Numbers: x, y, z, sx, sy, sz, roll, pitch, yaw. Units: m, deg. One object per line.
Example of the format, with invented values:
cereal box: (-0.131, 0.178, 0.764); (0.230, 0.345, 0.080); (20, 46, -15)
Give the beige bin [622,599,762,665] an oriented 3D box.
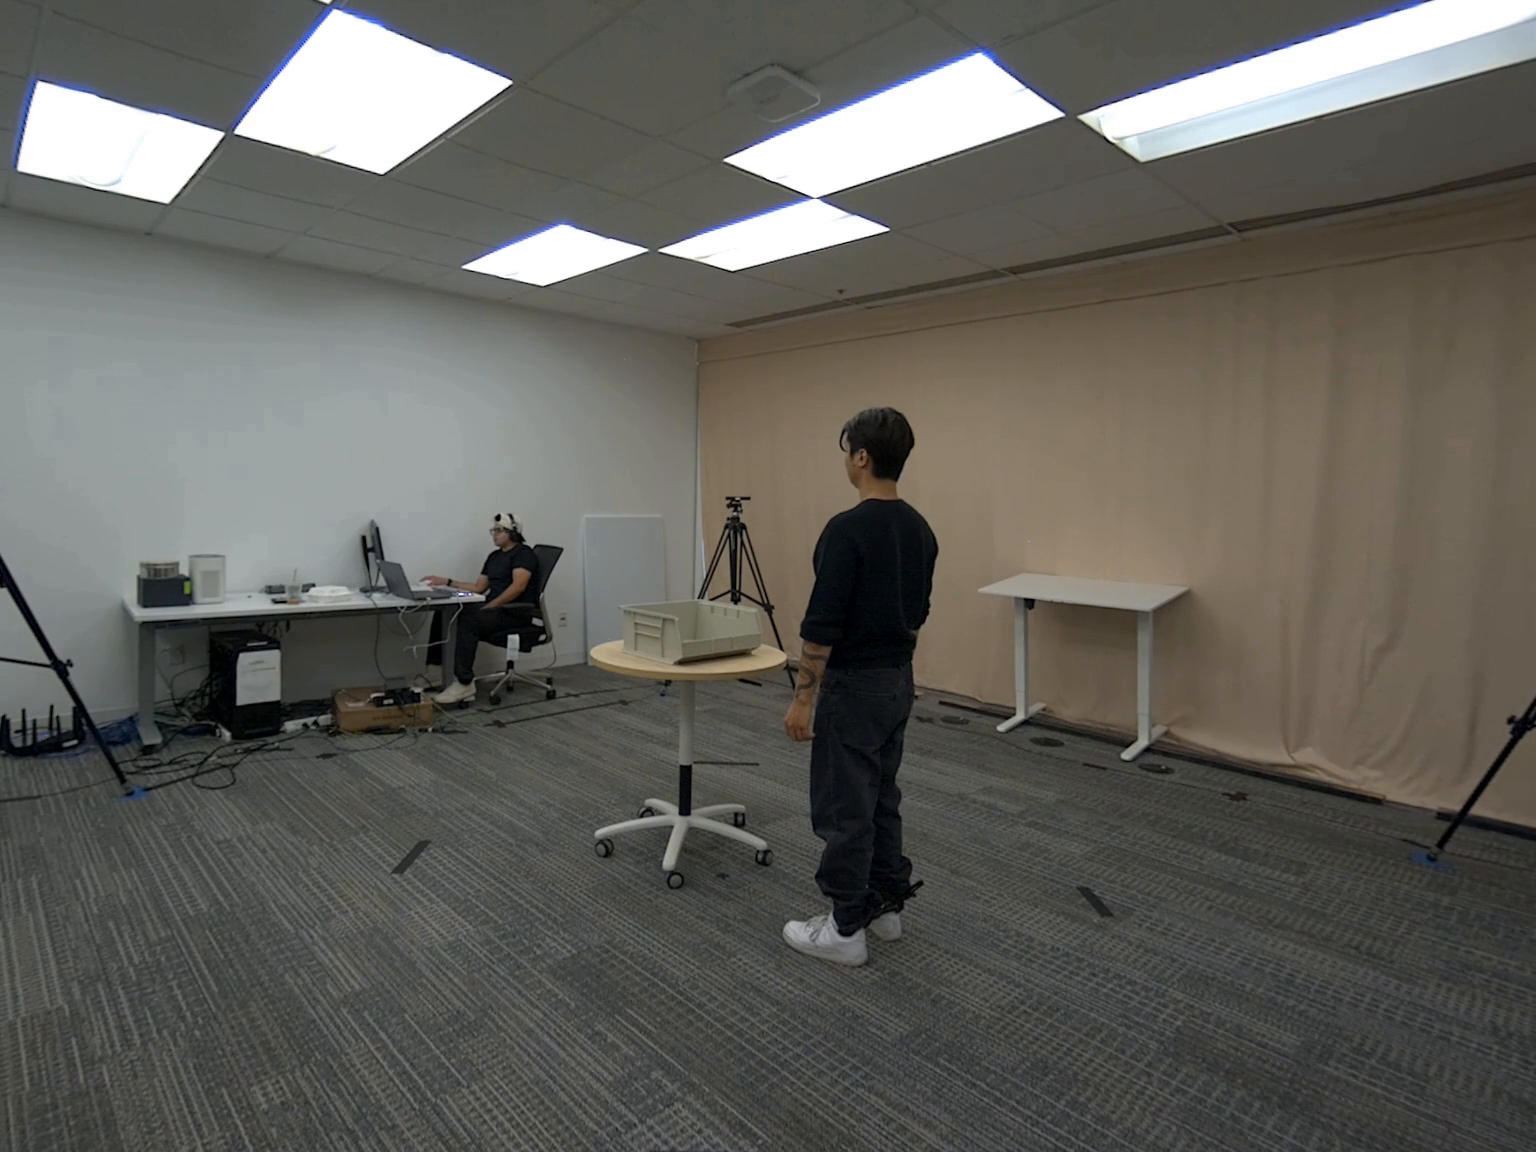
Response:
beige bin: (-0.302, 0.215, 3.266); (0.413, 0.188, 0.387); (-4, 6, -45)
